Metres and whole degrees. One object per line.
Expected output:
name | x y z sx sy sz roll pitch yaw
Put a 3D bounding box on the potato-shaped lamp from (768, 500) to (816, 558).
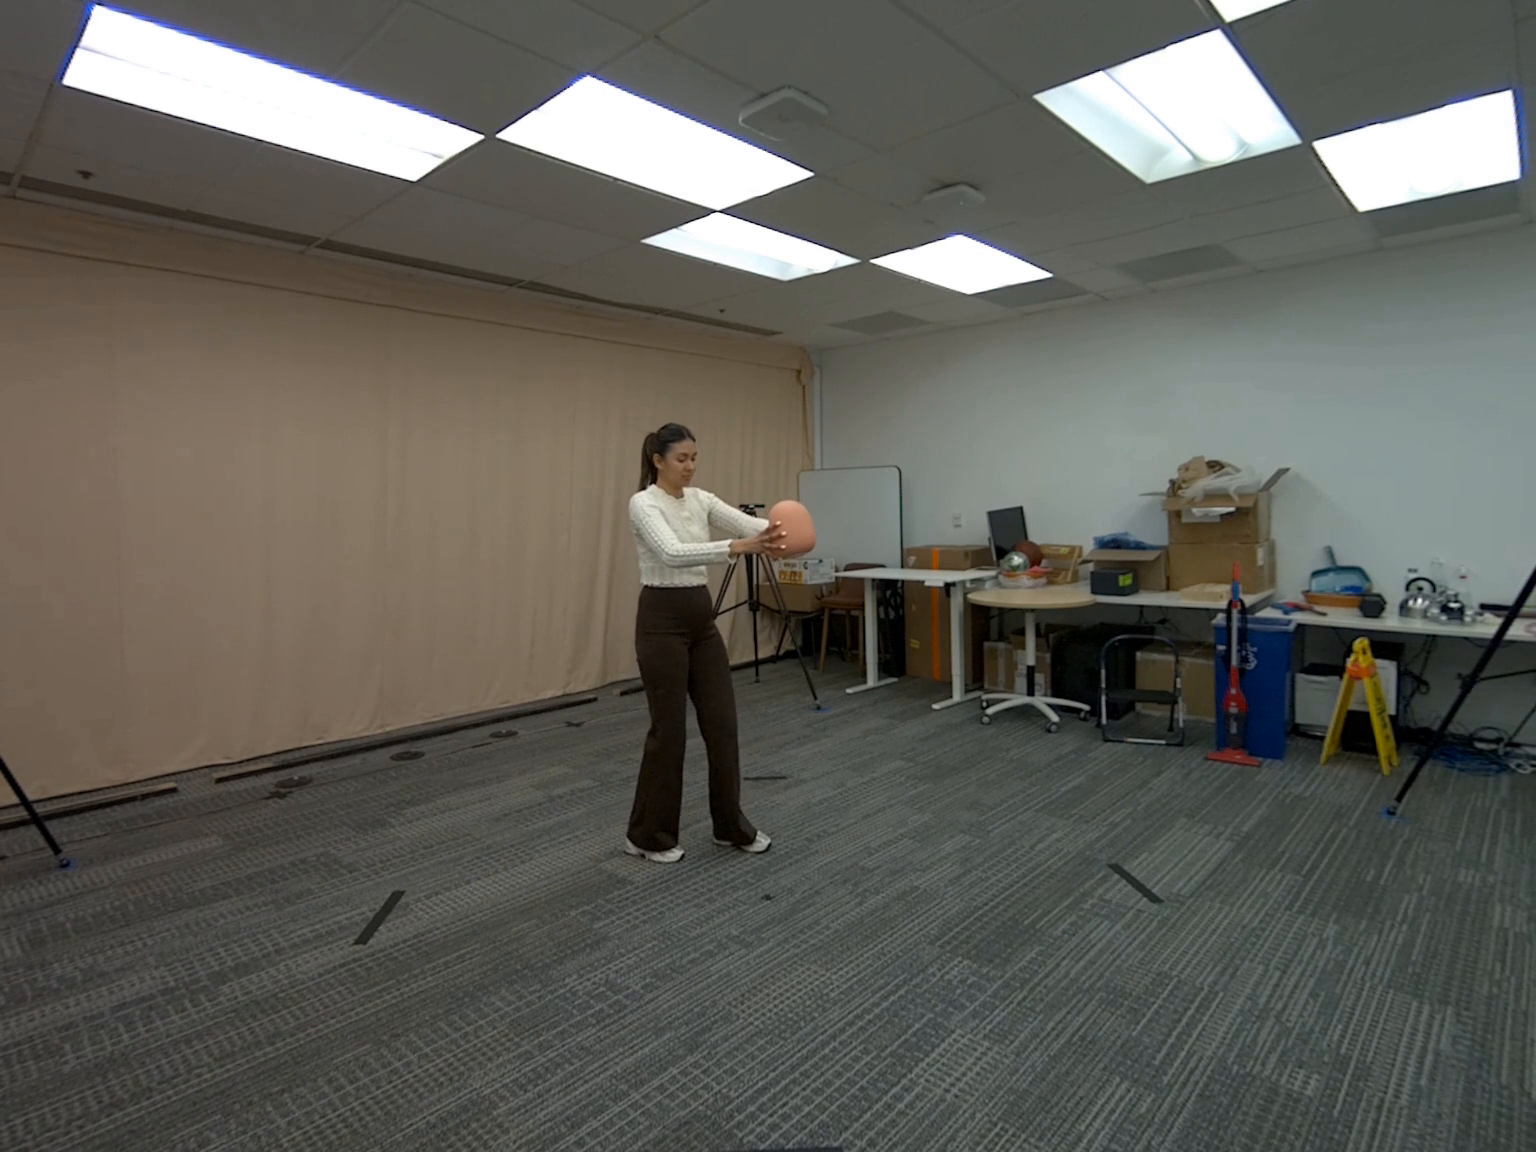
potato-shaped lamp | 0.085 -0.168 2.932 0.175 0.197 0.162 2 5 19
